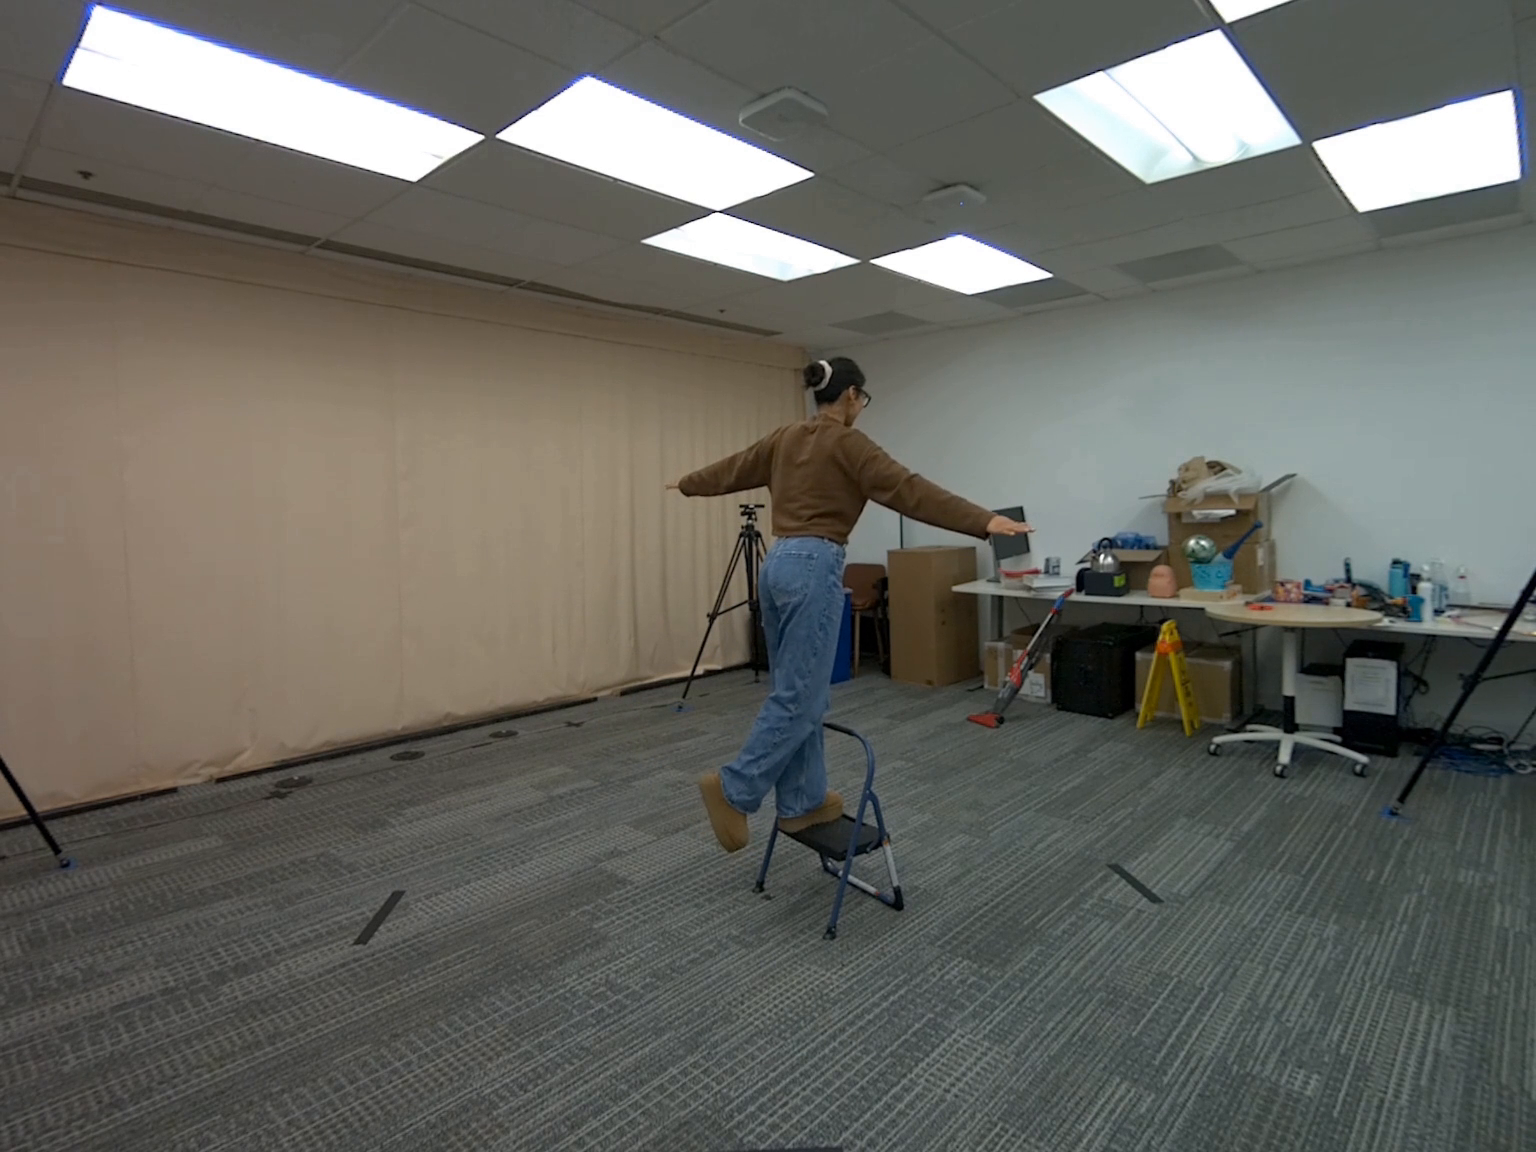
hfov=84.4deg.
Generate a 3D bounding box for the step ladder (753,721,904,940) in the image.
[{"bbox_3d":[0.210,0.839,2.937,0.339,0.605,0.444,-3,4,-35],"label":"step ladder"}]
